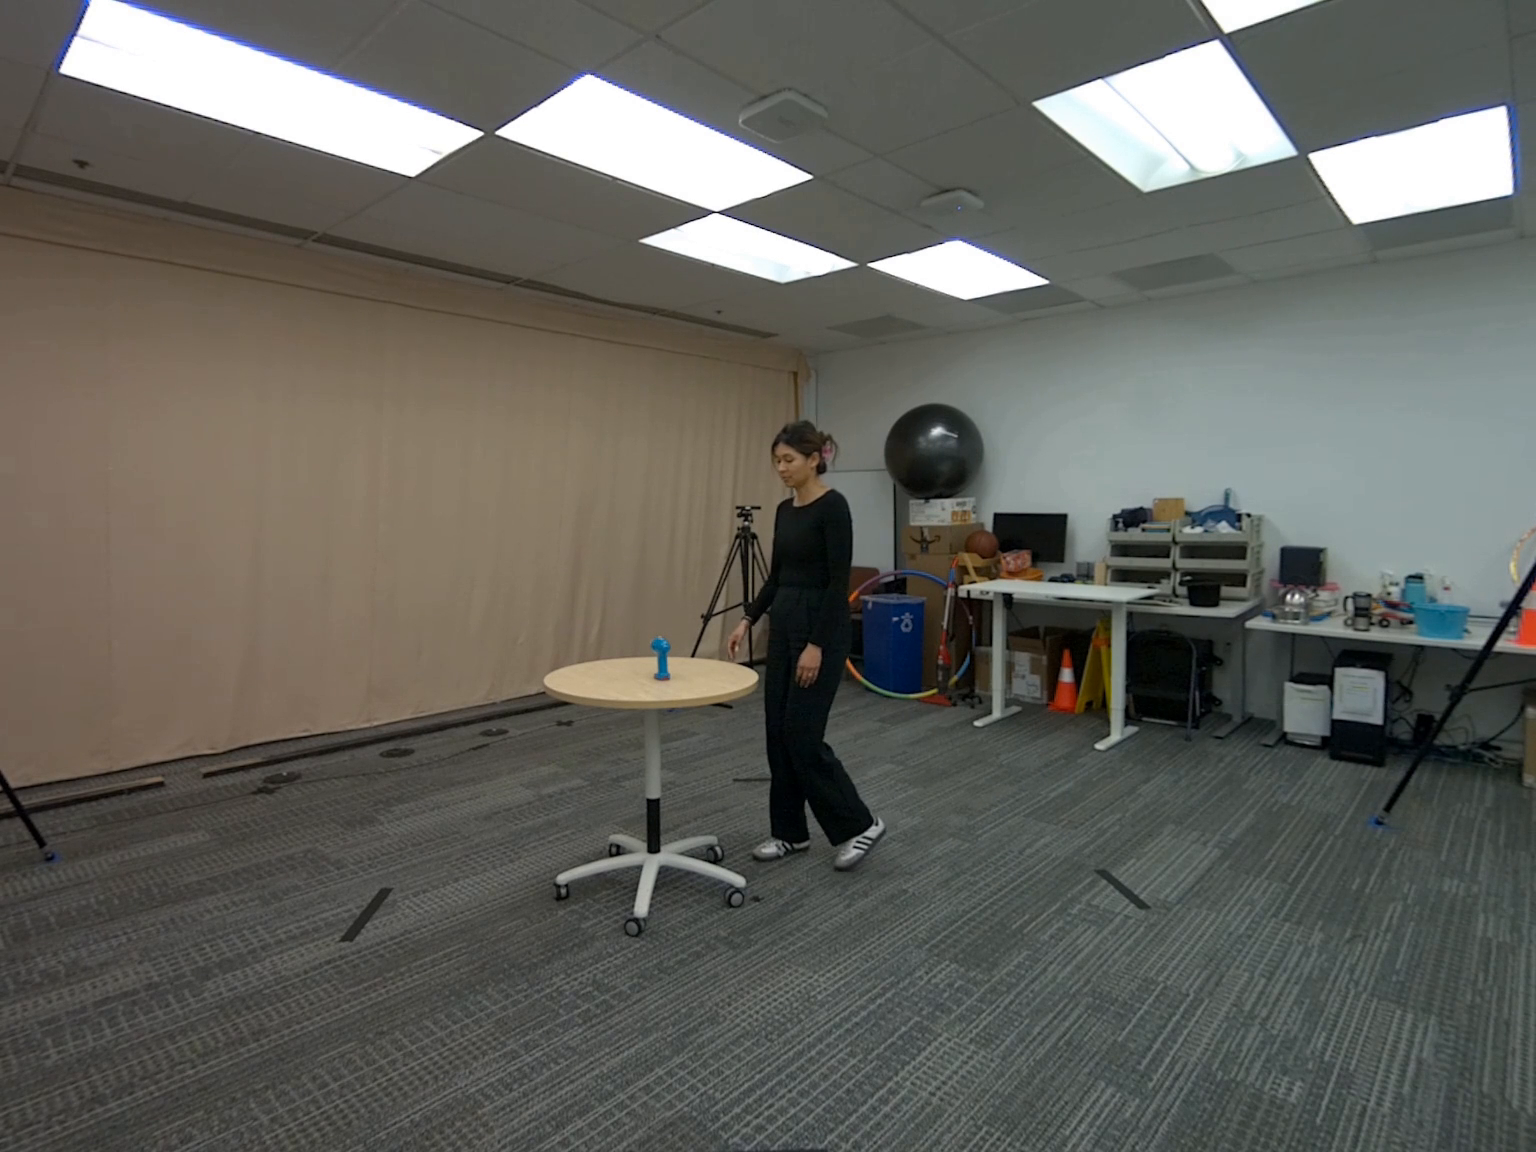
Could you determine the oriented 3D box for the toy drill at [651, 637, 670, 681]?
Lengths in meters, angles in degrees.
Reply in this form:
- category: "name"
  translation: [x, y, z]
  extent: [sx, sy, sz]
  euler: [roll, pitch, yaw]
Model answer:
- category: "toy drill"
  translation: [-0.387, 0.289, 3.013]
  extent: [0.060, 0.146, 0.174]
  euler: [2, 3, -22]
